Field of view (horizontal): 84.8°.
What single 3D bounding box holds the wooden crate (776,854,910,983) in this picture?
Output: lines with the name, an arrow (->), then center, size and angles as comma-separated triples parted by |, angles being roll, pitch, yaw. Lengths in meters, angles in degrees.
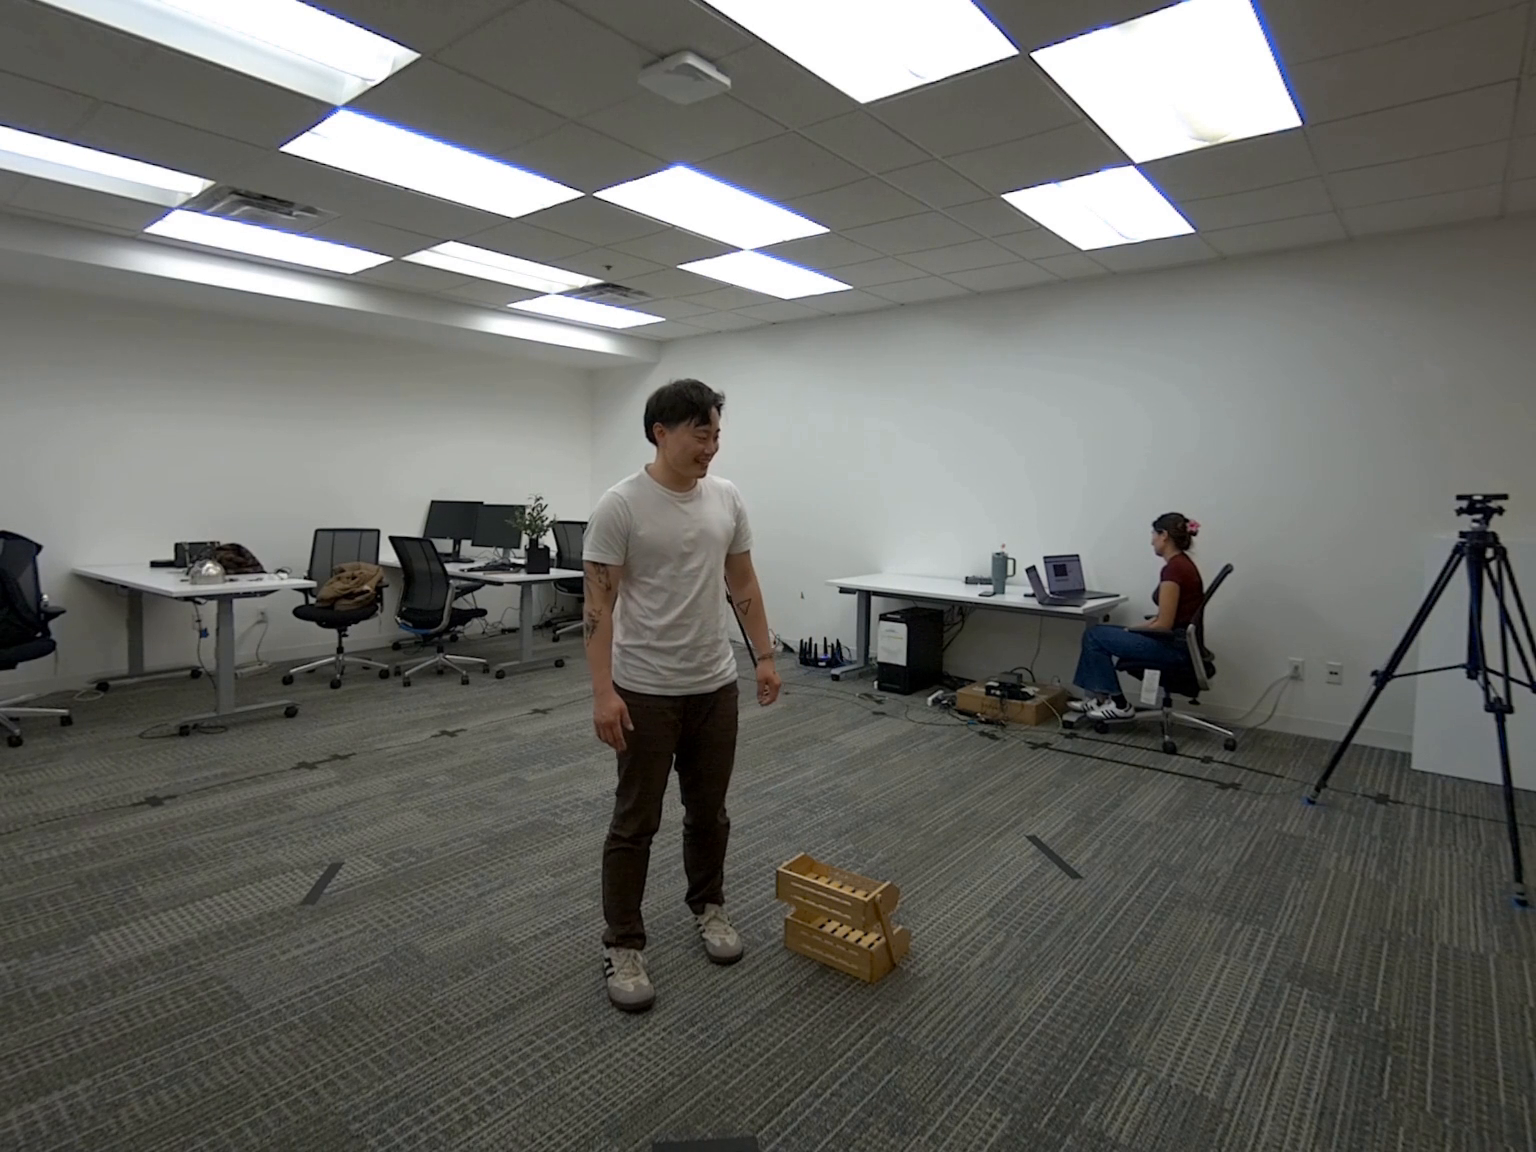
wooden crate -> 0.220, 0.994, 2.556 | 0.335, 0.272, 0.293 | 5, 6, 36
